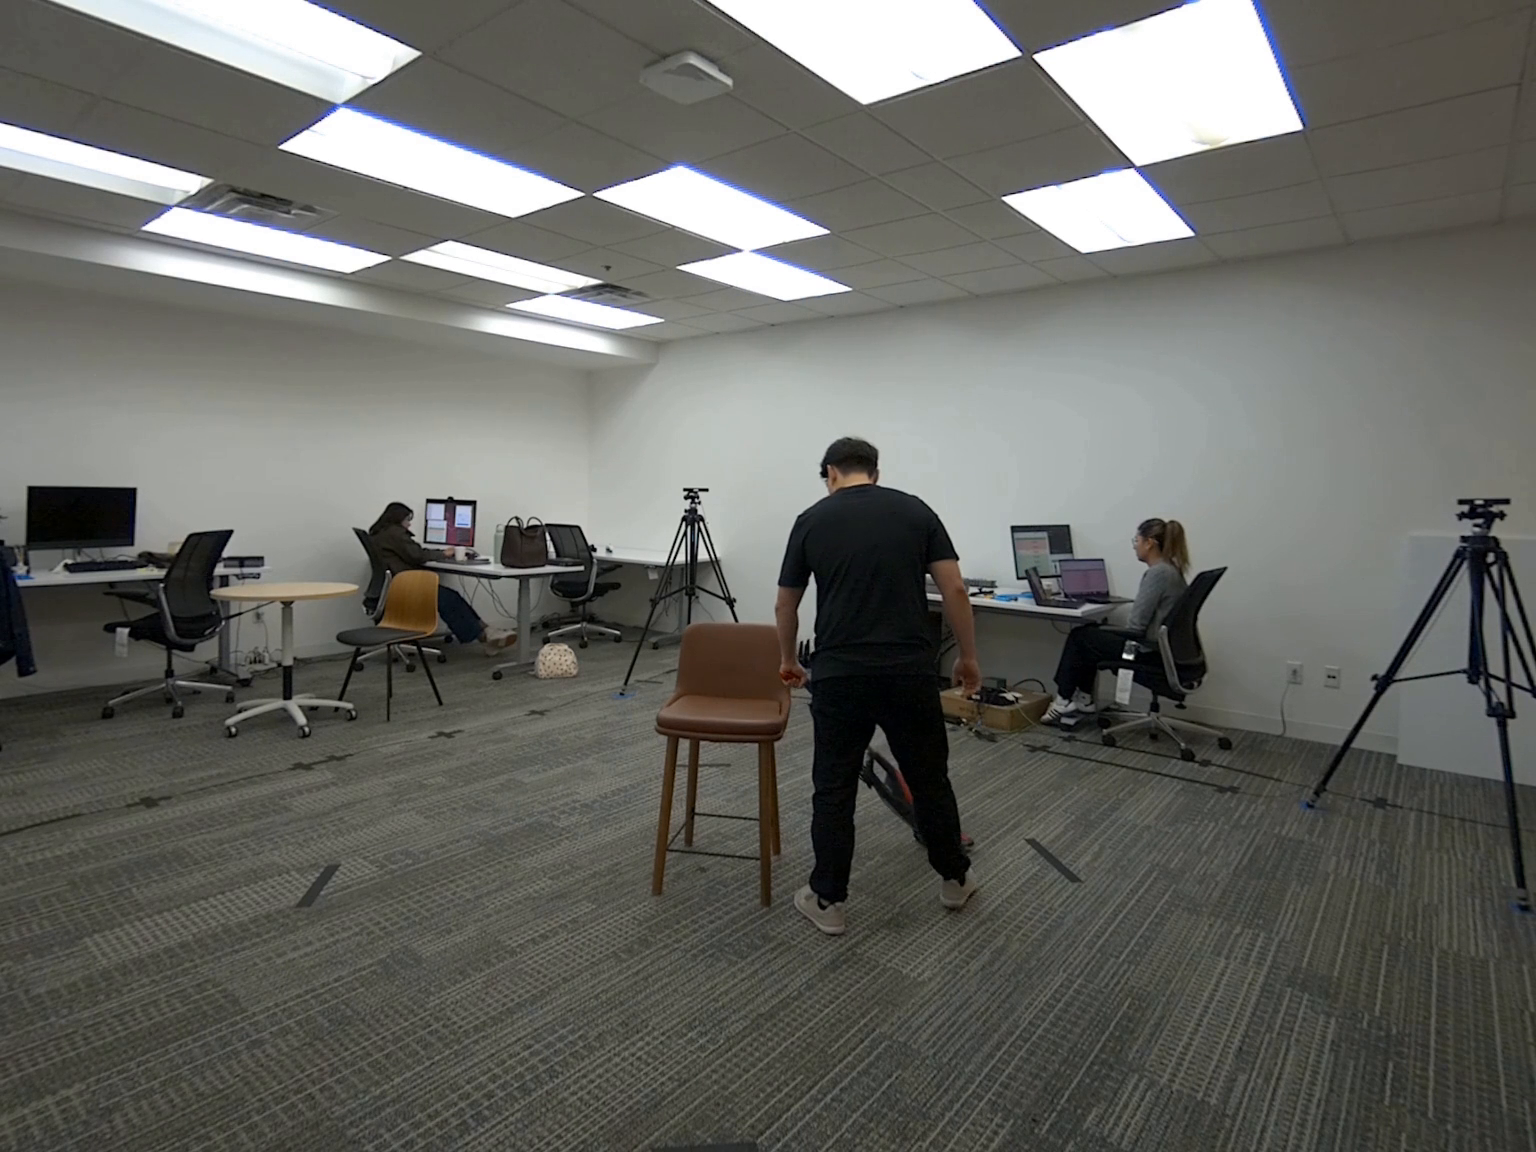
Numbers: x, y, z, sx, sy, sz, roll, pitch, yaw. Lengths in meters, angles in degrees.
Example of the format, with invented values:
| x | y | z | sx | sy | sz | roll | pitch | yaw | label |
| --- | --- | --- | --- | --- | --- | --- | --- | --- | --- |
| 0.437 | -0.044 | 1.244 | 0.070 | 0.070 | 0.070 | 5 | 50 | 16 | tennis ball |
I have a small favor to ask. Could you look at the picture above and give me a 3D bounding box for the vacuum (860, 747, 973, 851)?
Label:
| x | y | z | sx | sy | sz | roll | pitch | yaw | label |
| --- | --- | --- | --- | --- | --- | --- | --- | --- | --- |
| 0.363 | 0.690 | 3.186 | 1.016 | 0.144 | 0.260 | 47 | -18 | -25 | vacuum |
